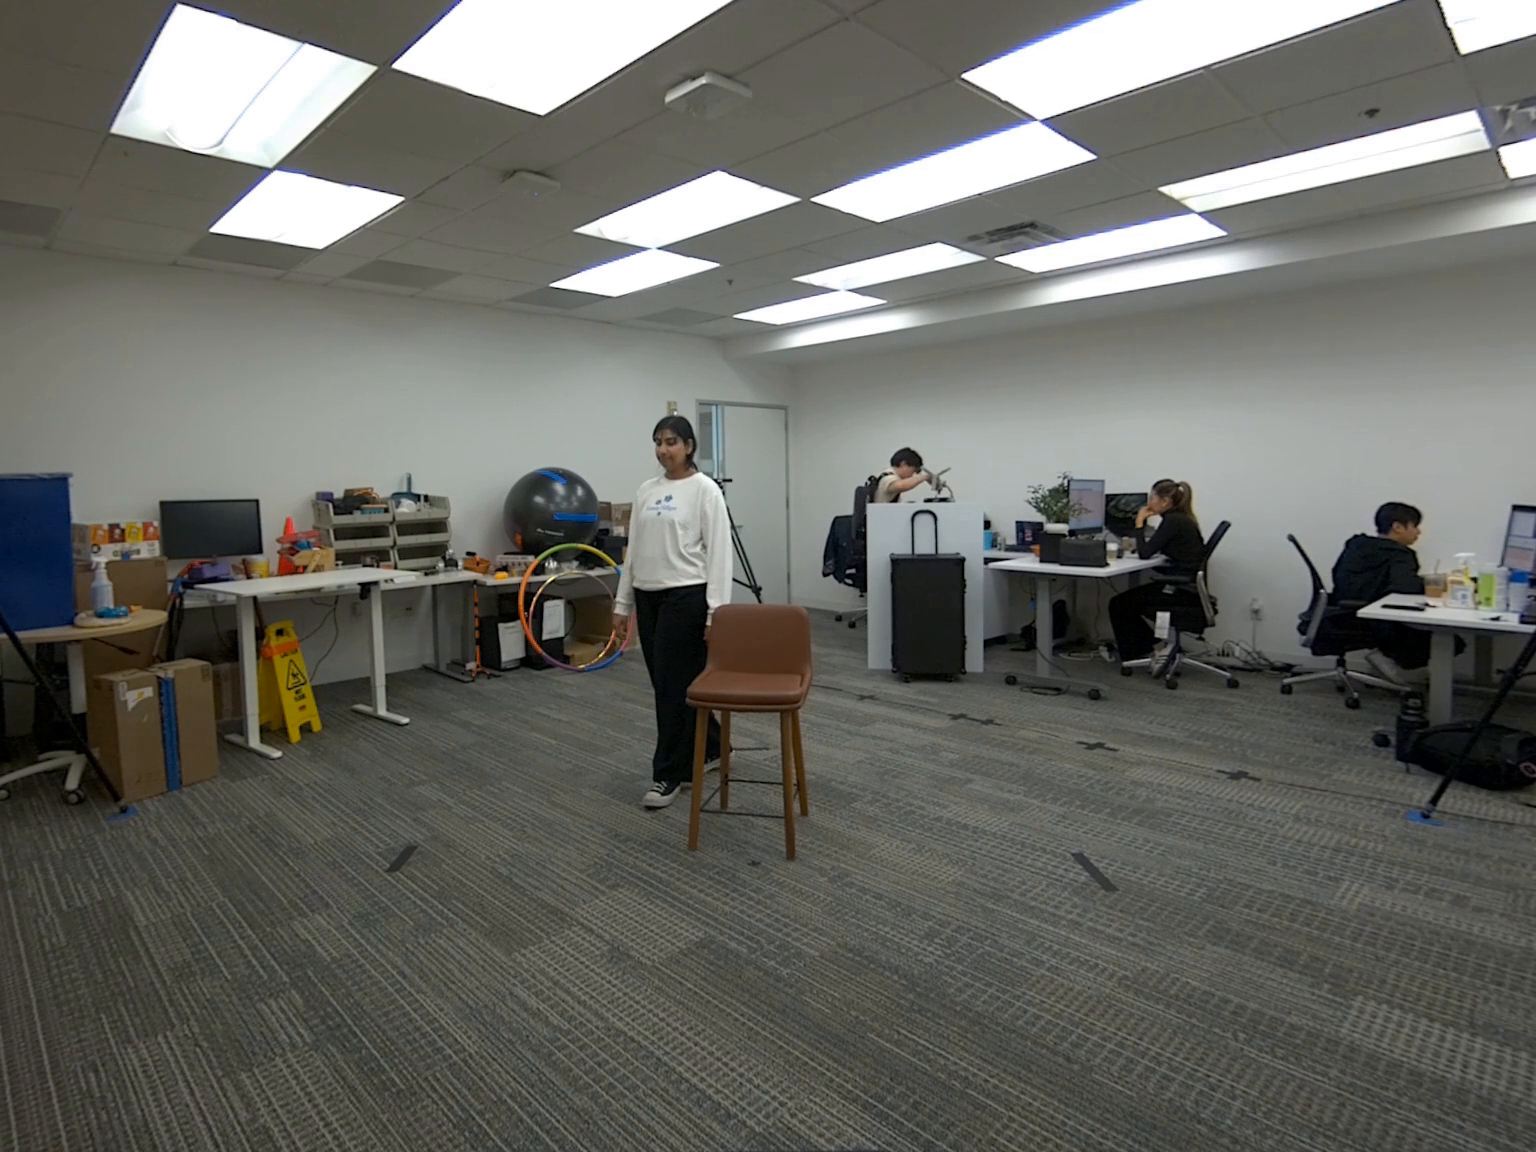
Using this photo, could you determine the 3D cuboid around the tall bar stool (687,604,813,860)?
[{"bbox_3d":[-0.062,0.581,3.373,0.463,0.888,0.462,0,2,14],"label":"tall bar stool"}]
